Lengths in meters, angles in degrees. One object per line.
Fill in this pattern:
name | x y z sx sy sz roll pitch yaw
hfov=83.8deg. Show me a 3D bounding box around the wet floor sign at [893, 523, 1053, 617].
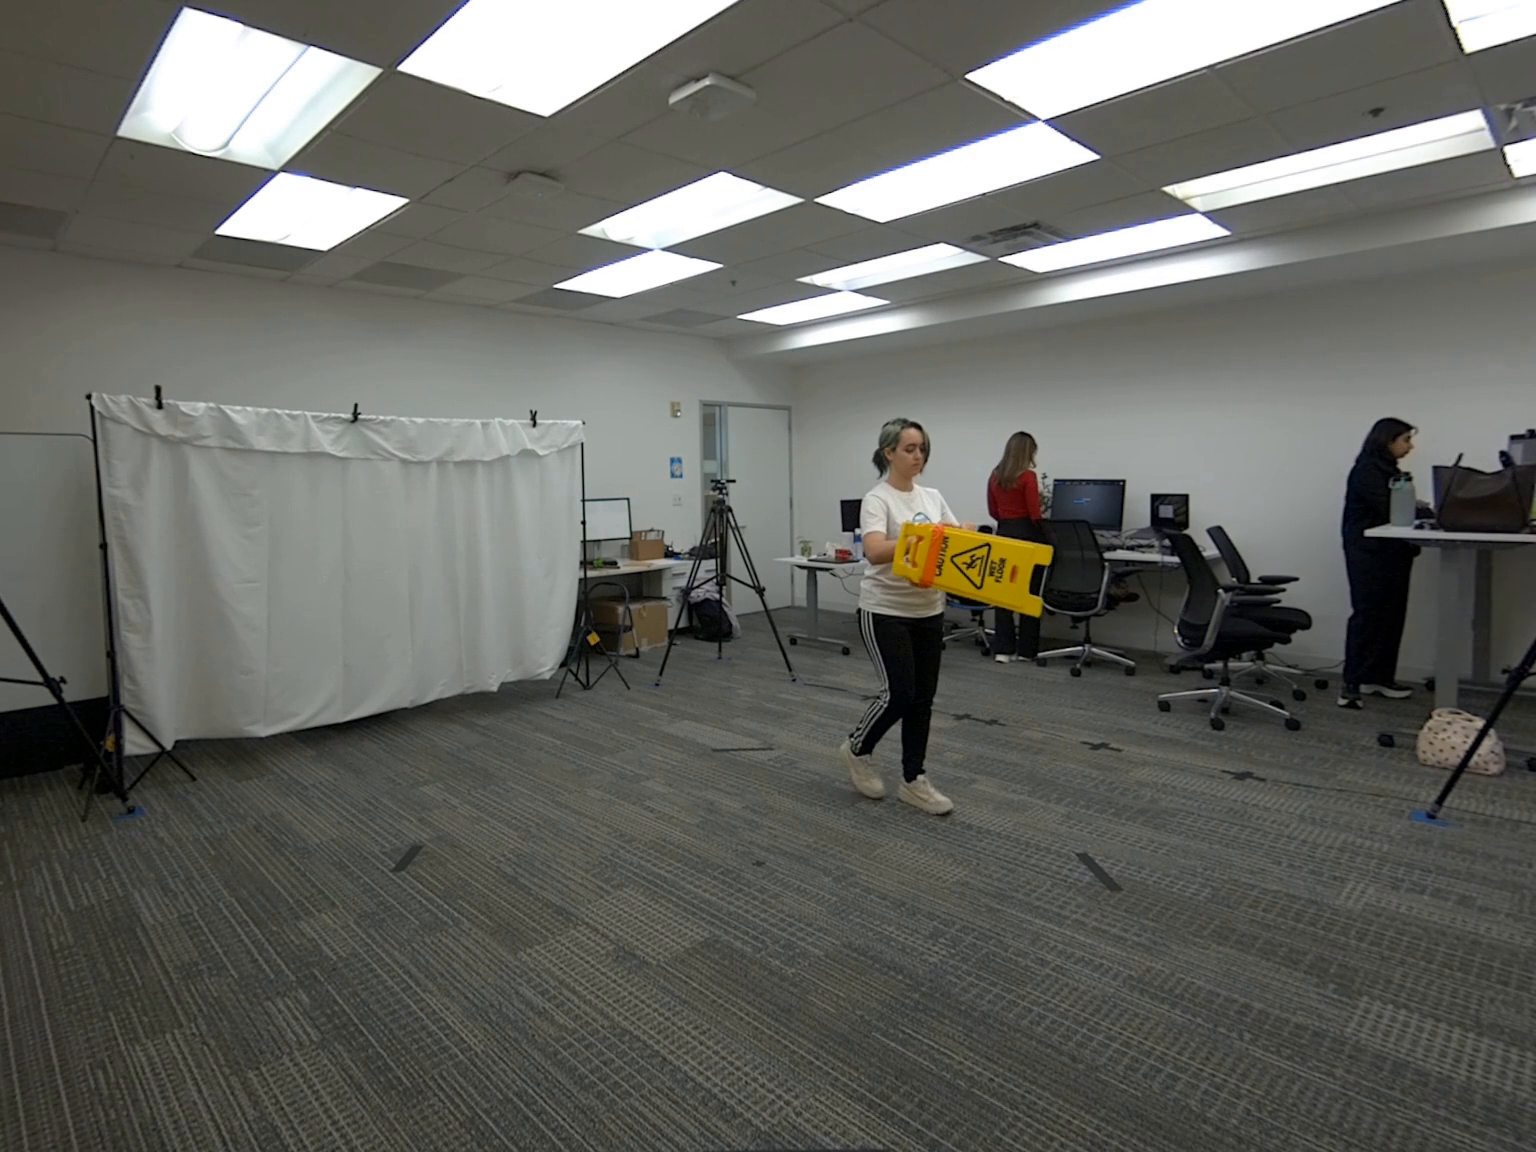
wet floor sign | 0.736 -0.052 3.259 0.627 0.282 0.298 12 0 -31
